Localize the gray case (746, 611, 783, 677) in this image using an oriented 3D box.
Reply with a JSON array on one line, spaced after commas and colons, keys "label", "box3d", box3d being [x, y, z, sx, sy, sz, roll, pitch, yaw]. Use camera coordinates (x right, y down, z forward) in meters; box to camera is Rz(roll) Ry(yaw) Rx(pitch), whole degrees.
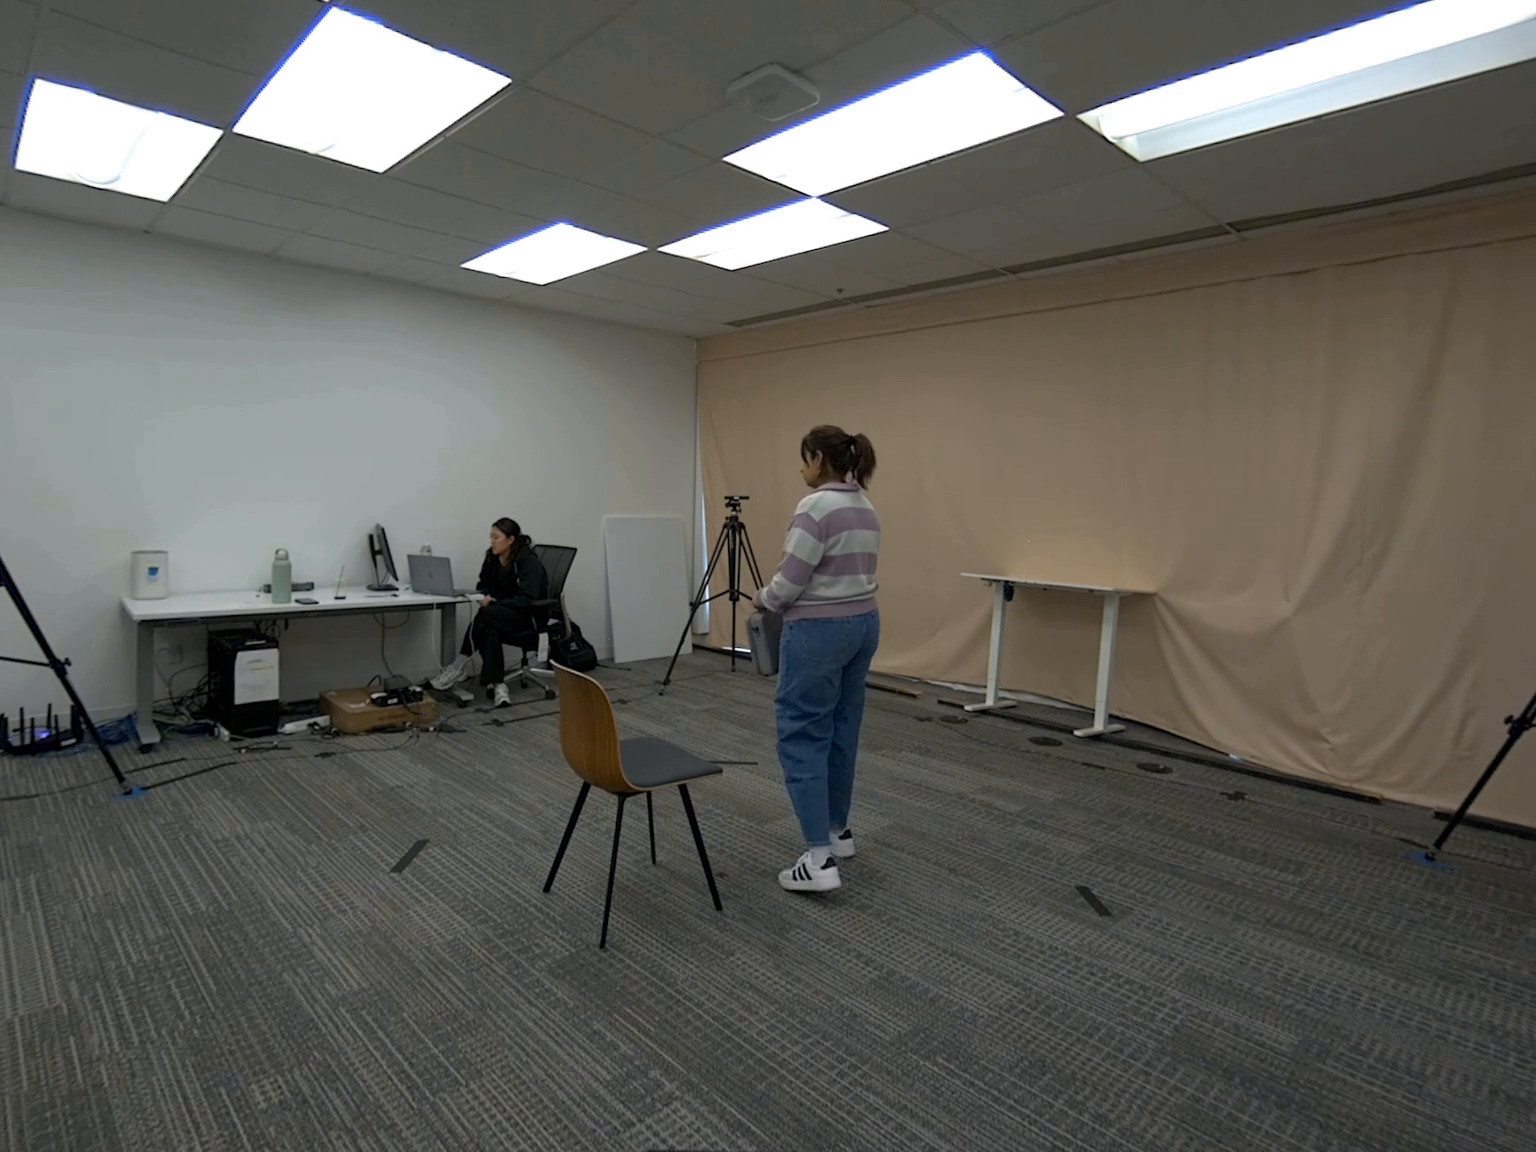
[{"label": "gray case", "box3d": [0.038, 0.245, 3.402, 0.106, 0.259, 0.253, -7, 7, 45]}]
